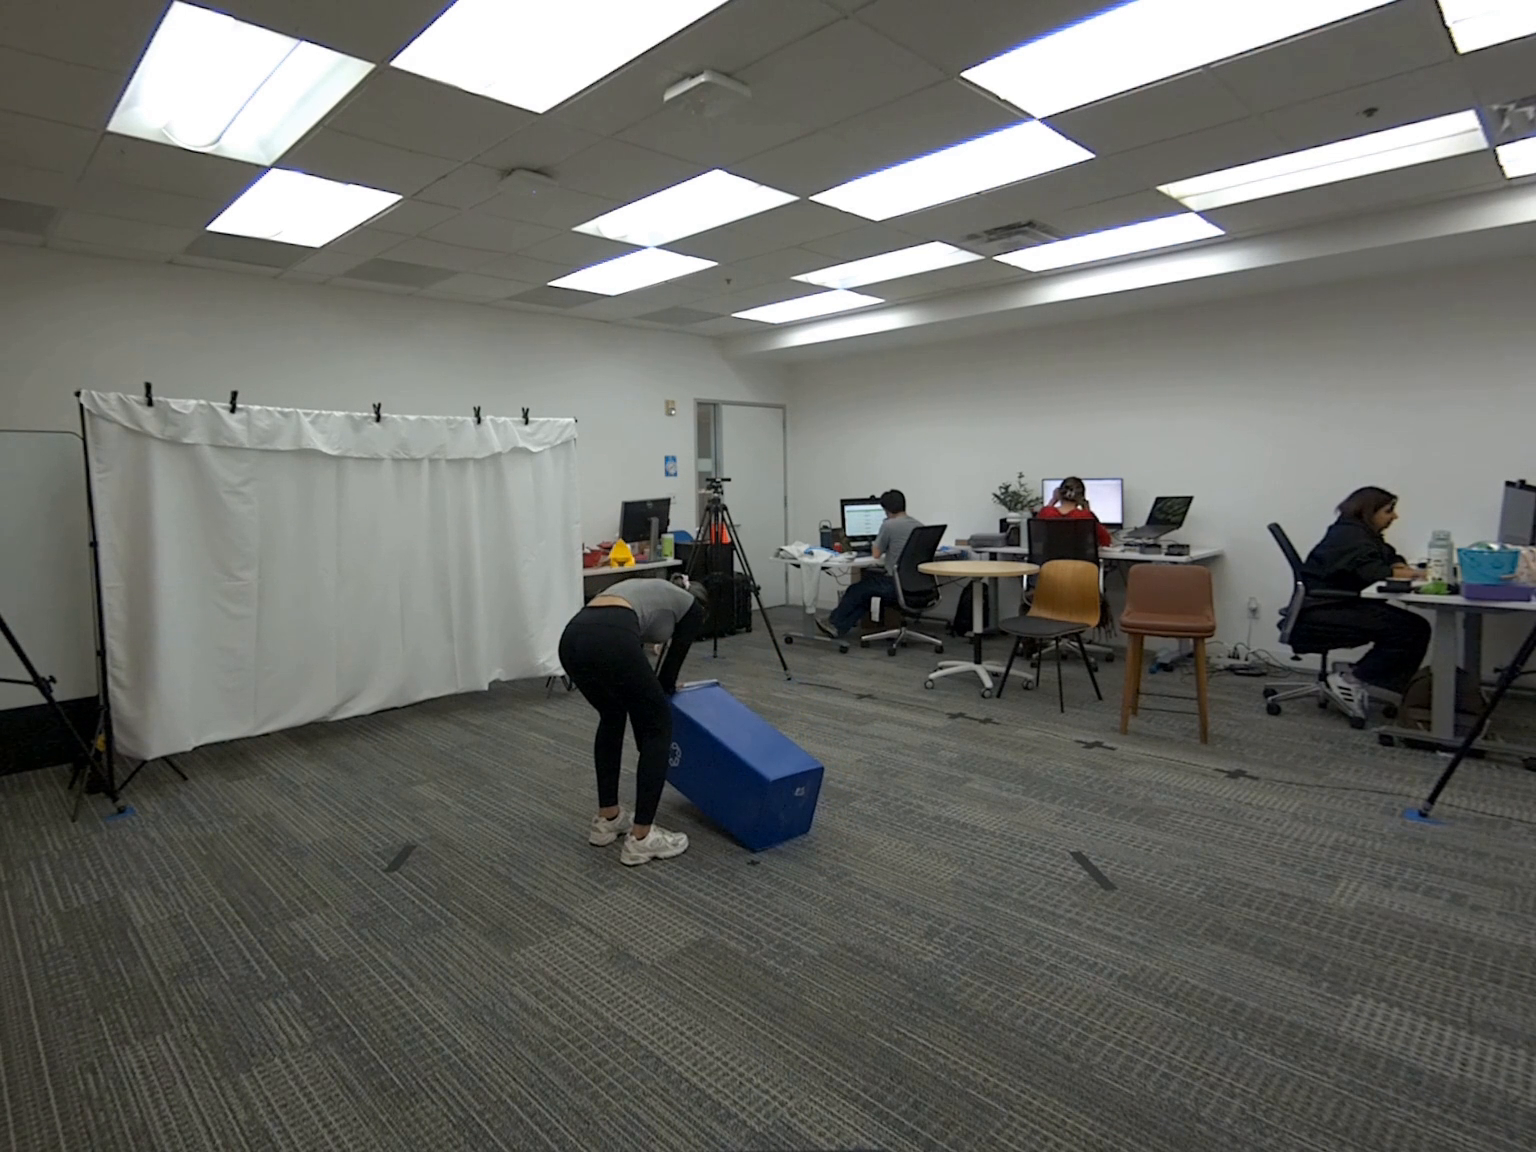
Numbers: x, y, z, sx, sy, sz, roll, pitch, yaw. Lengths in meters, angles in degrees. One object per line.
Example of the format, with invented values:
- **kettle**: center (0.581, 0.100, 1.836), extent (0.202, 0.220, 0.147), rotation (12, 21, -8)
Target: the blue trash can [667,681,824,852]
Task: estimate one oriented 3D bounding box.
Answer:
- **blue trash can**: center (-0.145, 0.747, 3.487), extent (0.367, 0.371, 0.741), rotation (-1, 19, -42)
